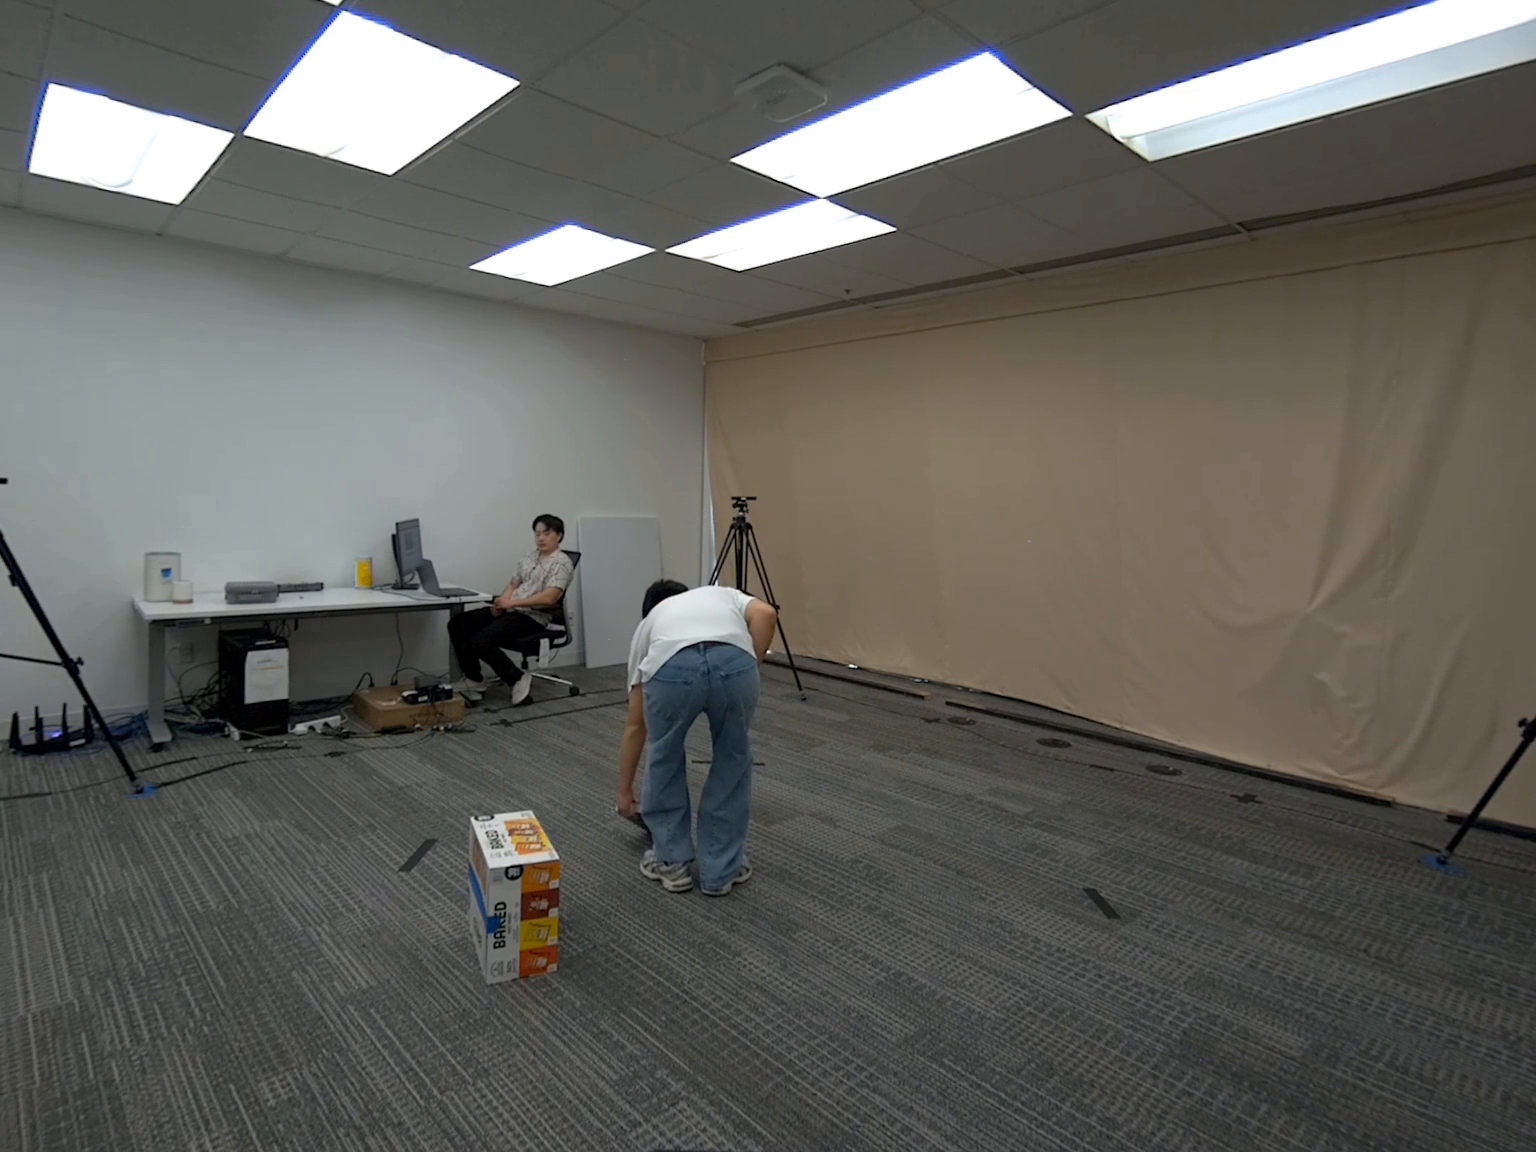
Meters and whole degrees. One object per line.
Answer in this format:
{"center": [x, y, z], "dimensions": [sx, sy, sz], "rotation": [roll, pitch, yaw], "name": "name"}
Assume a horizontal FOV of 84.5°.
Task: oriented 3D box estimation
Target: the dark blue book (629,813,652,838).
{"center": [-0.490, 0.953, 3.379], "dimensions": [0.167, 0.045, 0.237], "rotation": [2, -28, 32], "name": "dark blue book"}
